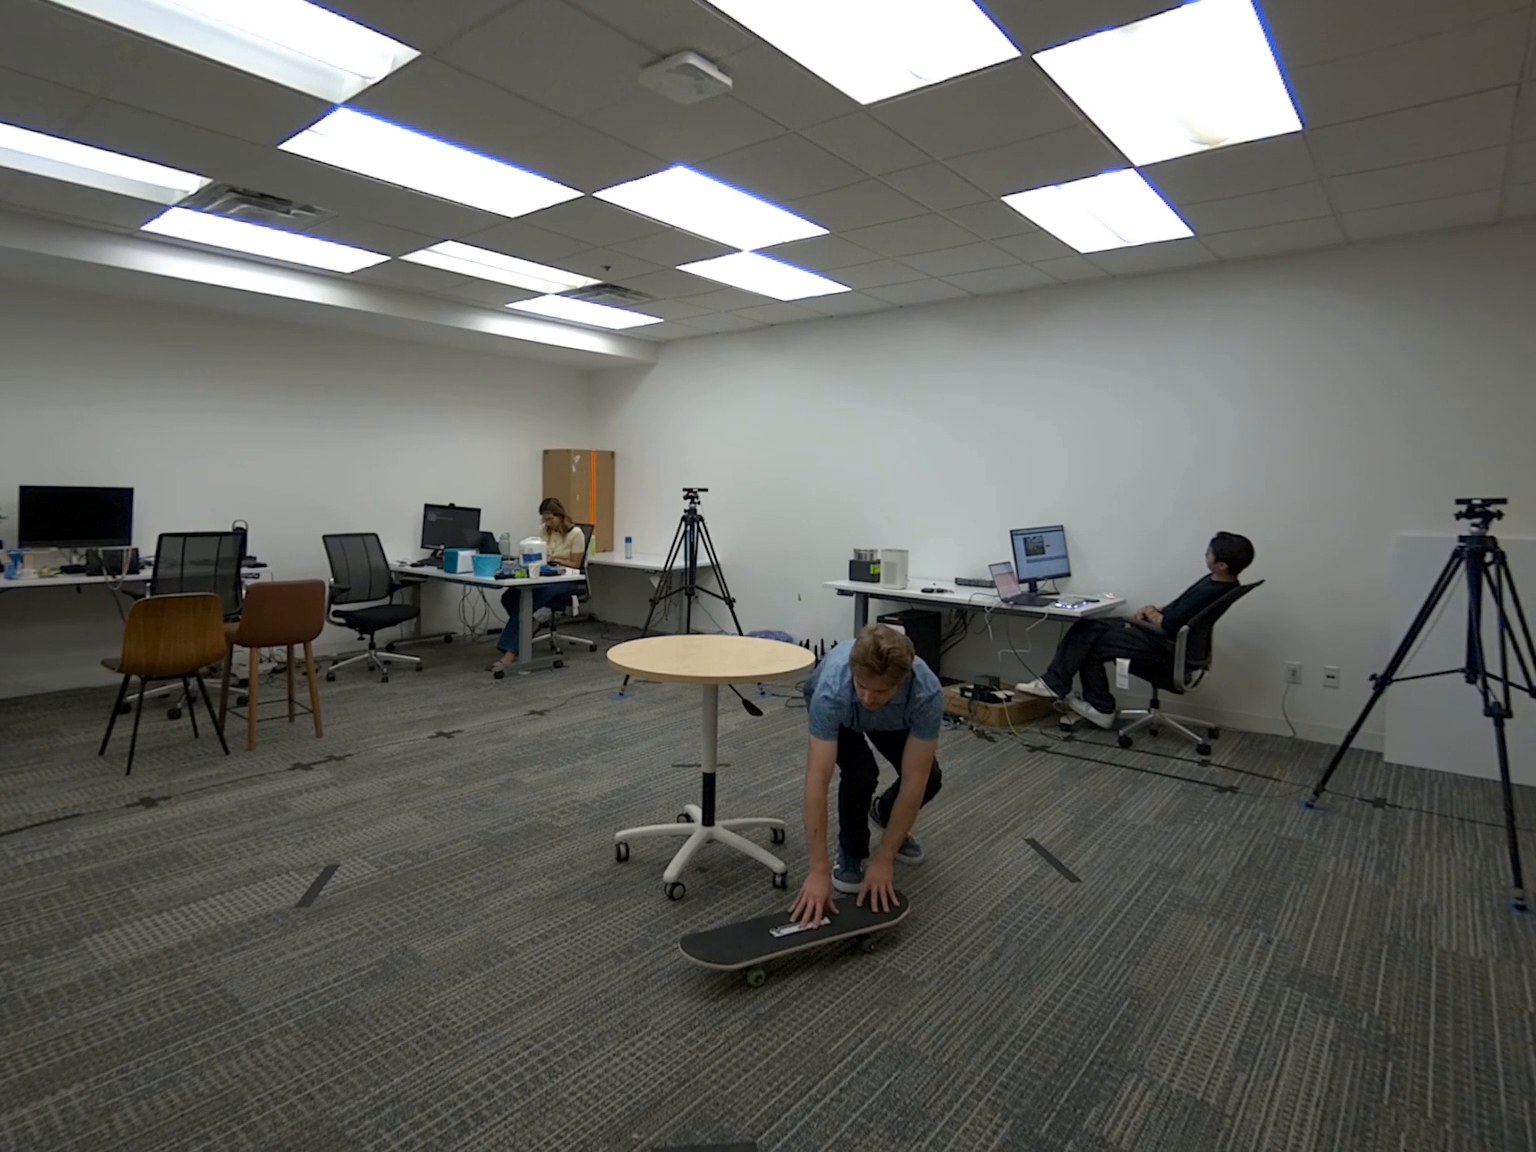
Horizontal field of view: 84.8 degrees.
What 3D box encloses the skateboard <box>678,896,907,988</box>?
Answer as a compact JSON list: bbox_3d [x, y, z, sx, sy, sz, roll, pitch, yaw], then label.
[{"bbox_3d":[0.092,1.079,2.544,0.765,0.110,0.199,-1,6,-29],"label":"skateboard"}]
